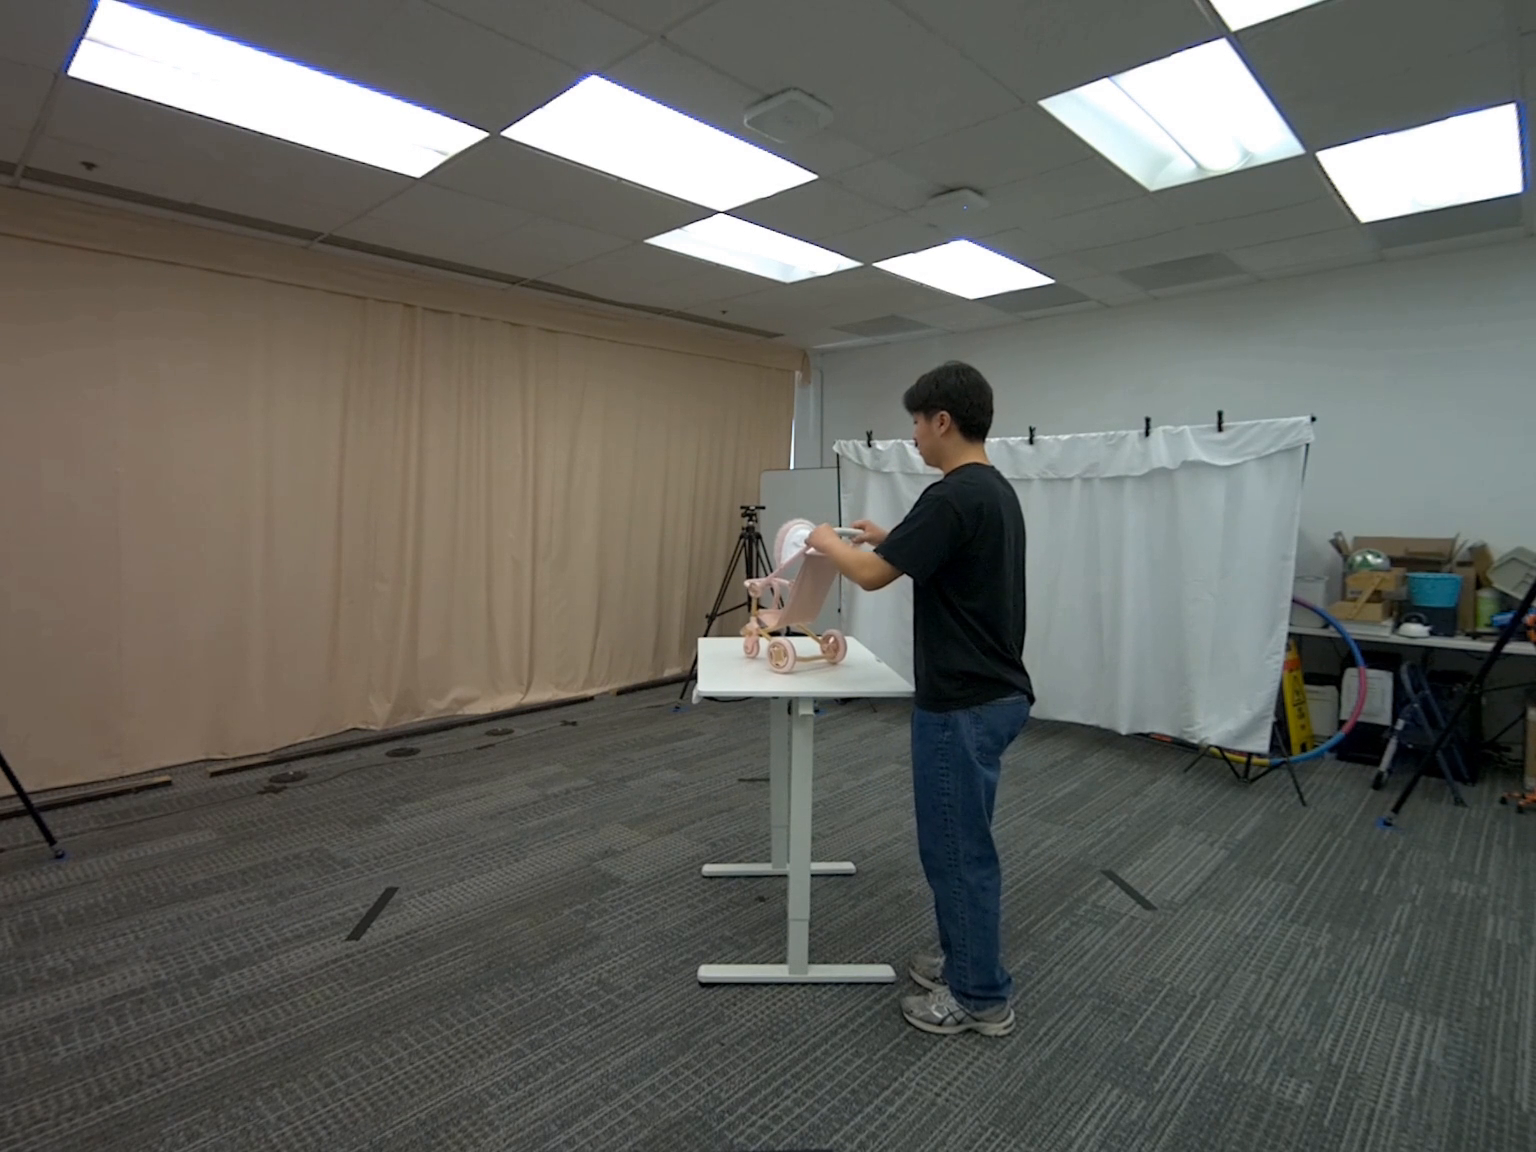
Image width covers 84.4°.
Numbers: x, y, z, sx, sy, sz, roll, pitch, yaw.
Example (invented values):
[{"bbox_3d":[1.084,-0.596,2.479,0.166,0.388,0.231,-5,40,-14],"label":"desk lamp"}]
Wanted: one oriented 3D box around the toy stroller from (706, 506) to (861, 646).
[{"bbox_3d":[0.088,0.061,2.671,0.273,0.532,0.354,-1,18,-41],"label":"toy stroller"}]
